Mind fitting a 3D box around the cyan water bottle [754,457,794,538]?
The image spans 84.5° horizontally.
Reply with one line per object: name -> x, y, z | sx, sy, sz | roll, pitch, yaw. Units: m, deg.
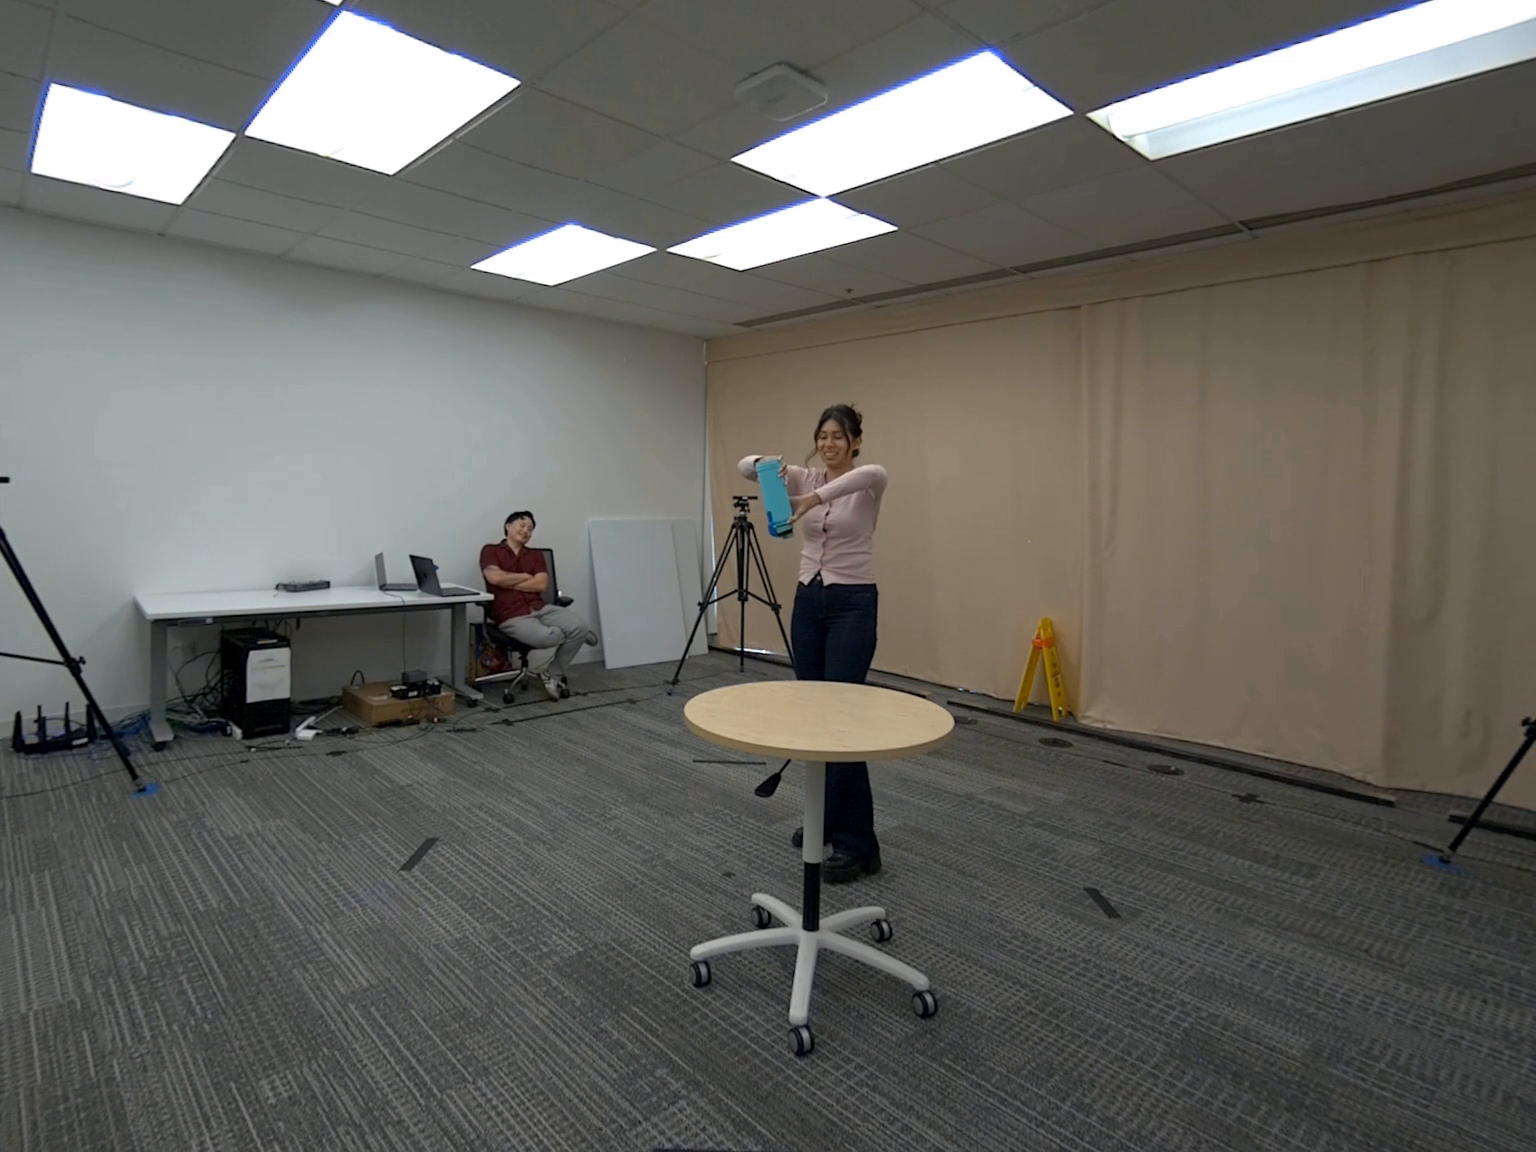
cyan water bottle -> 0.017, -0.266, 2.971 | 0.092, 0.282, 0.093 | -11, 5, 0
